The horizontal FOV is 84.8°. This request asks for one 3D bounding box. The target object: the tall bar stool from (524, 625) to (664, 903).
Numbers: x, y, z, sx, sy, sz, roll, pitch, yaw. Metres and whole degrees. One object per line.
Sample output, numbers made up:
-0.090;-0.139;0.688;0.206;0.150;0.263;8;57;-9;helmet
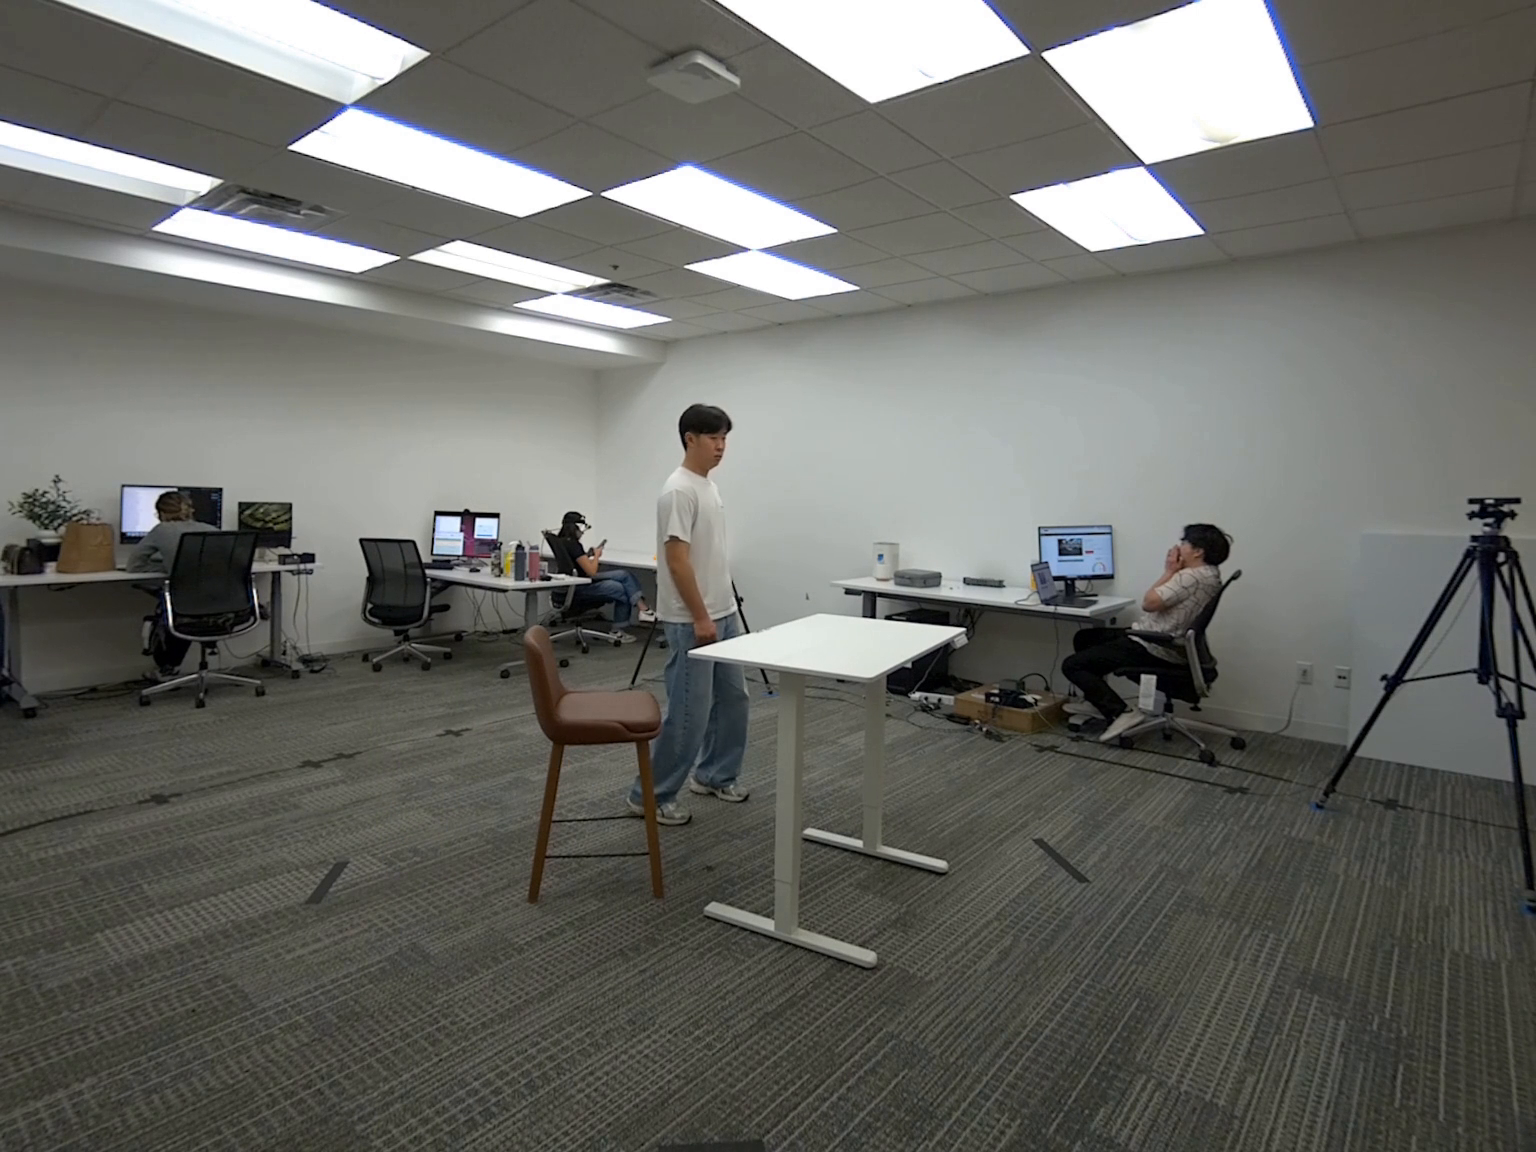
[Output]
-0.623;0.633;3.023;0.463;0.887;0.462;-1;3;-10;tall bar stool
